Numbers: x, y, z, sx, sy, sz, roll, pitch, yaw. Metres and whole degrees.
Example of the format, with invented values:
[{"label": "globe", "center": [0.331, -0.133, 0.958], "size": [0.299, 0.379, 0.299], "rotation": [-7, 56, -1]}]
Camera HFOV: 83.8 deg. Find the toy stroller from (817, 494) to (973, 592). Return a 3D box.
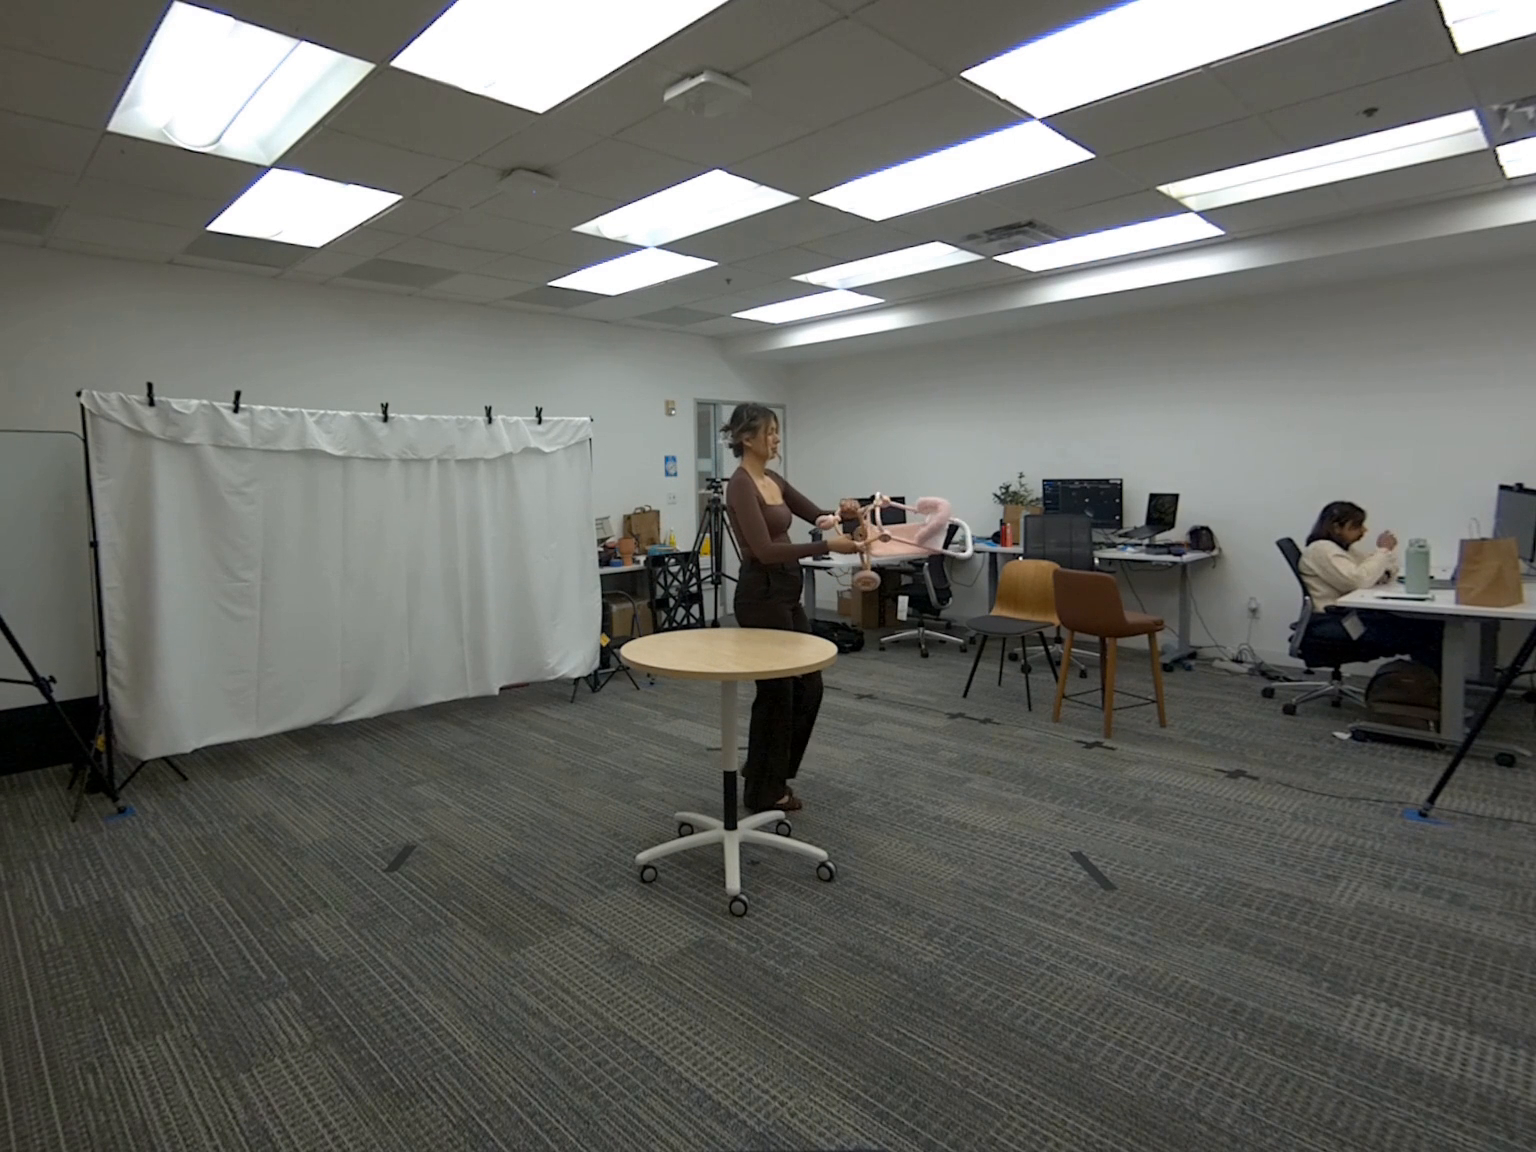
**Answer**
[{"label": "toy stroller", "center": [0.497, -0.176, 3.356], "size": [0.543, 0.329, 0.287], "rotation": [-14, 39, 24]}]
